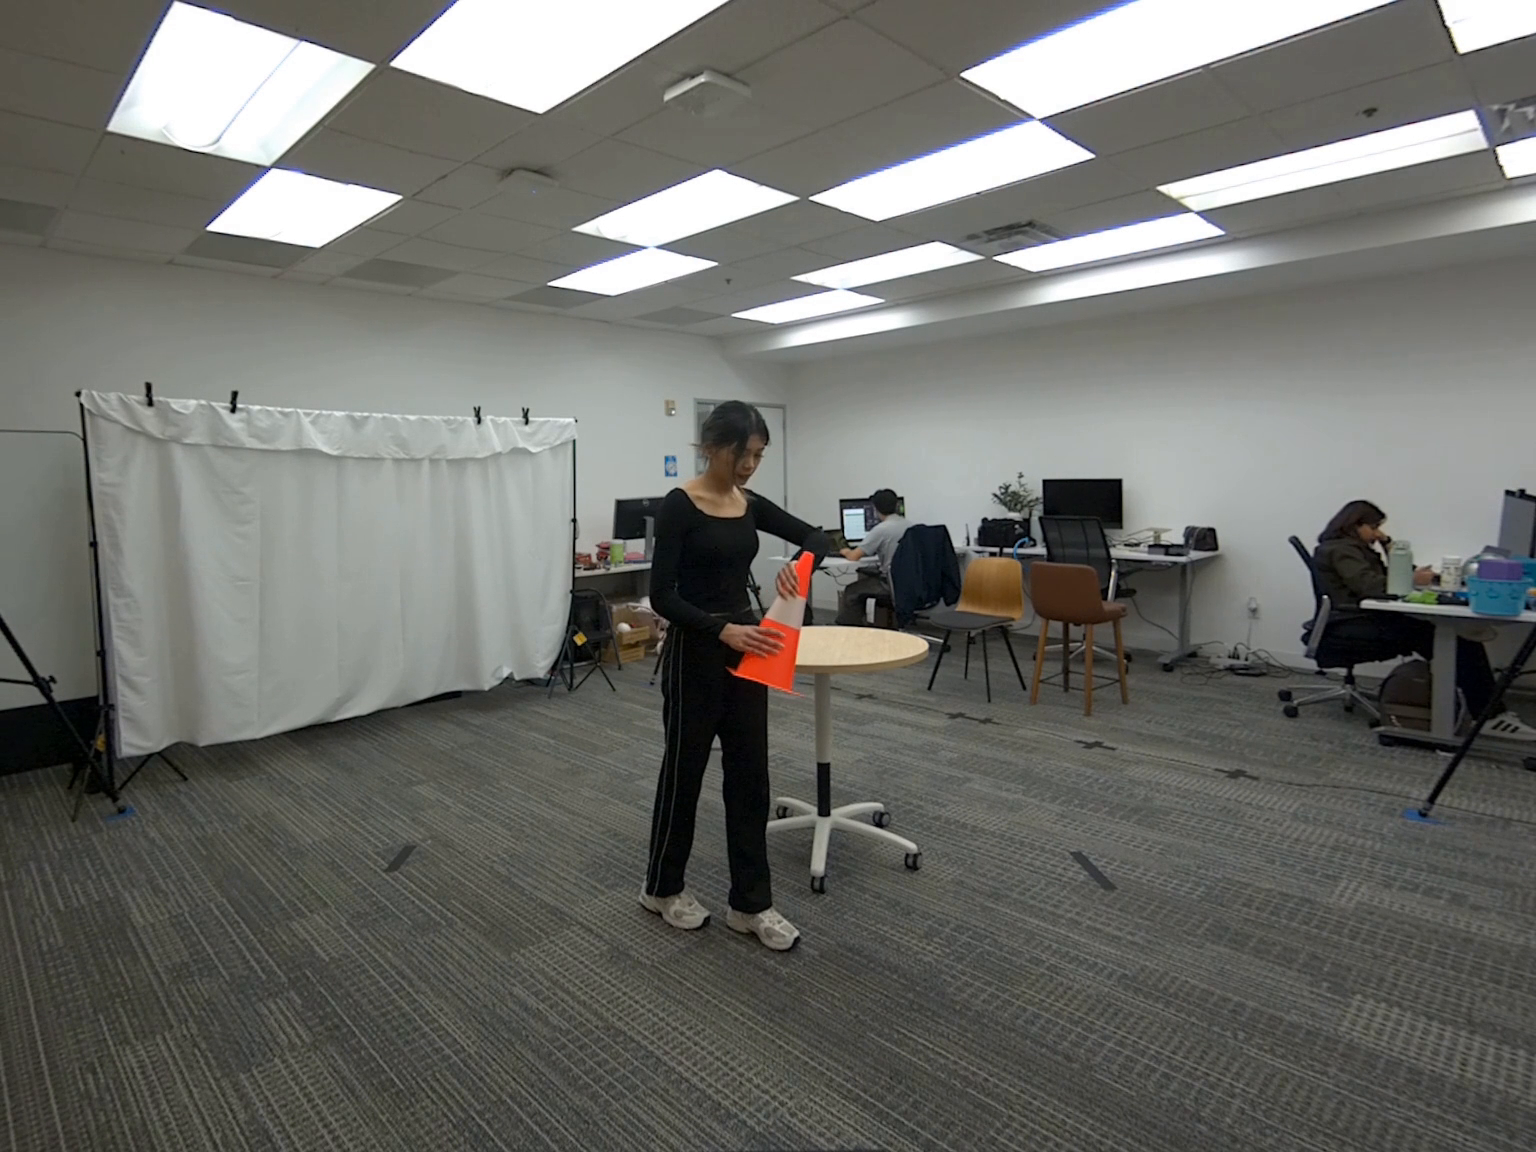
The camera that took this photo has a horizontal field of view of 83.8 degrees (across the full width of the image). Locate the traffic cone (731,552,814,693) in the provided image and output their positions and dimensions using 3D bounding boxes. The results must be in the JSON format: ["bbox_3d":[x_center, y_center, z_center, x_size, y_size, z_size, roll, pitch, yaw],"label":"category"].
[{"bbox_3d":[0.061,0.121,2.373,0.202,0.385,0.206,19,-7,-8],"label":"traffic cone"}]
